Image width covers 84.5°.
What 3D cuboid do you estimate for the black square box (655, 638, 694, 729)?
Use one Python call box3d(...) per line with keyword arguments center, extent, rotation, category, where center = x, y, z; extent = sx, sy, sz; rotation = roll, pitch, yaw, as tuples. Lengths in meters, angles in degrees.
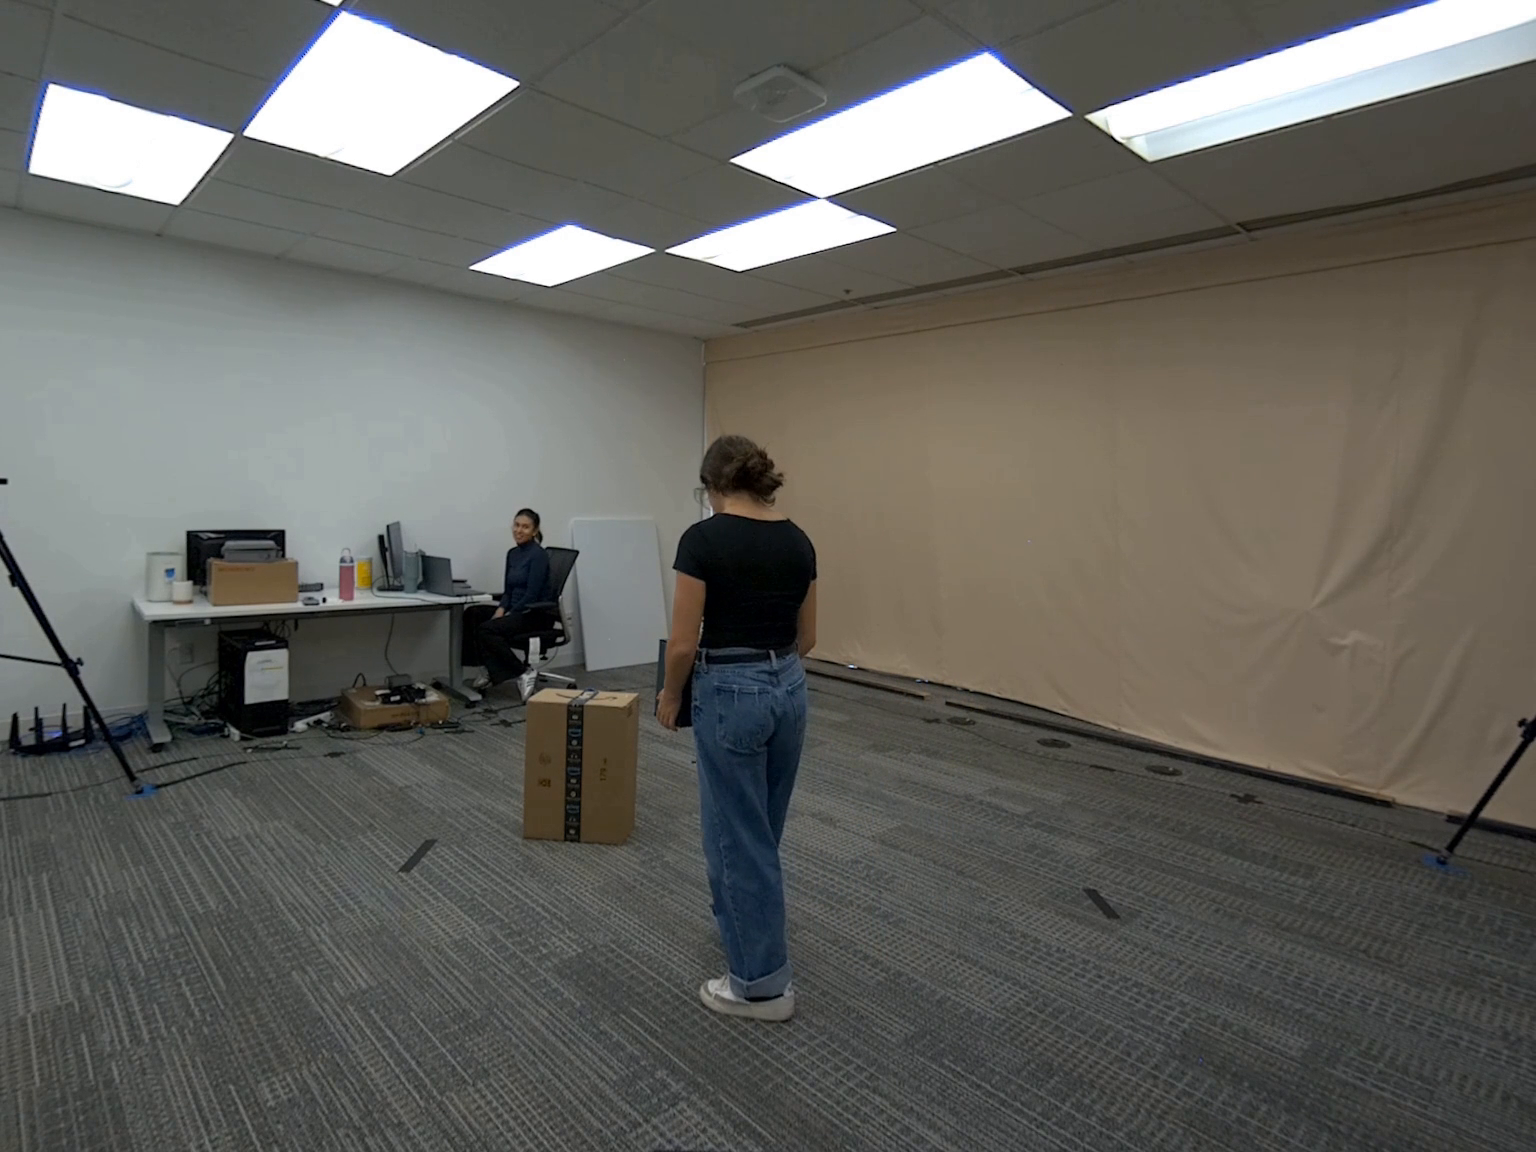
box3d(center=(-0.181, 0.315, 2.490), extent=(0.212, 0.227, 0.160), rotation=(0, 3, -39), category="black square box")
